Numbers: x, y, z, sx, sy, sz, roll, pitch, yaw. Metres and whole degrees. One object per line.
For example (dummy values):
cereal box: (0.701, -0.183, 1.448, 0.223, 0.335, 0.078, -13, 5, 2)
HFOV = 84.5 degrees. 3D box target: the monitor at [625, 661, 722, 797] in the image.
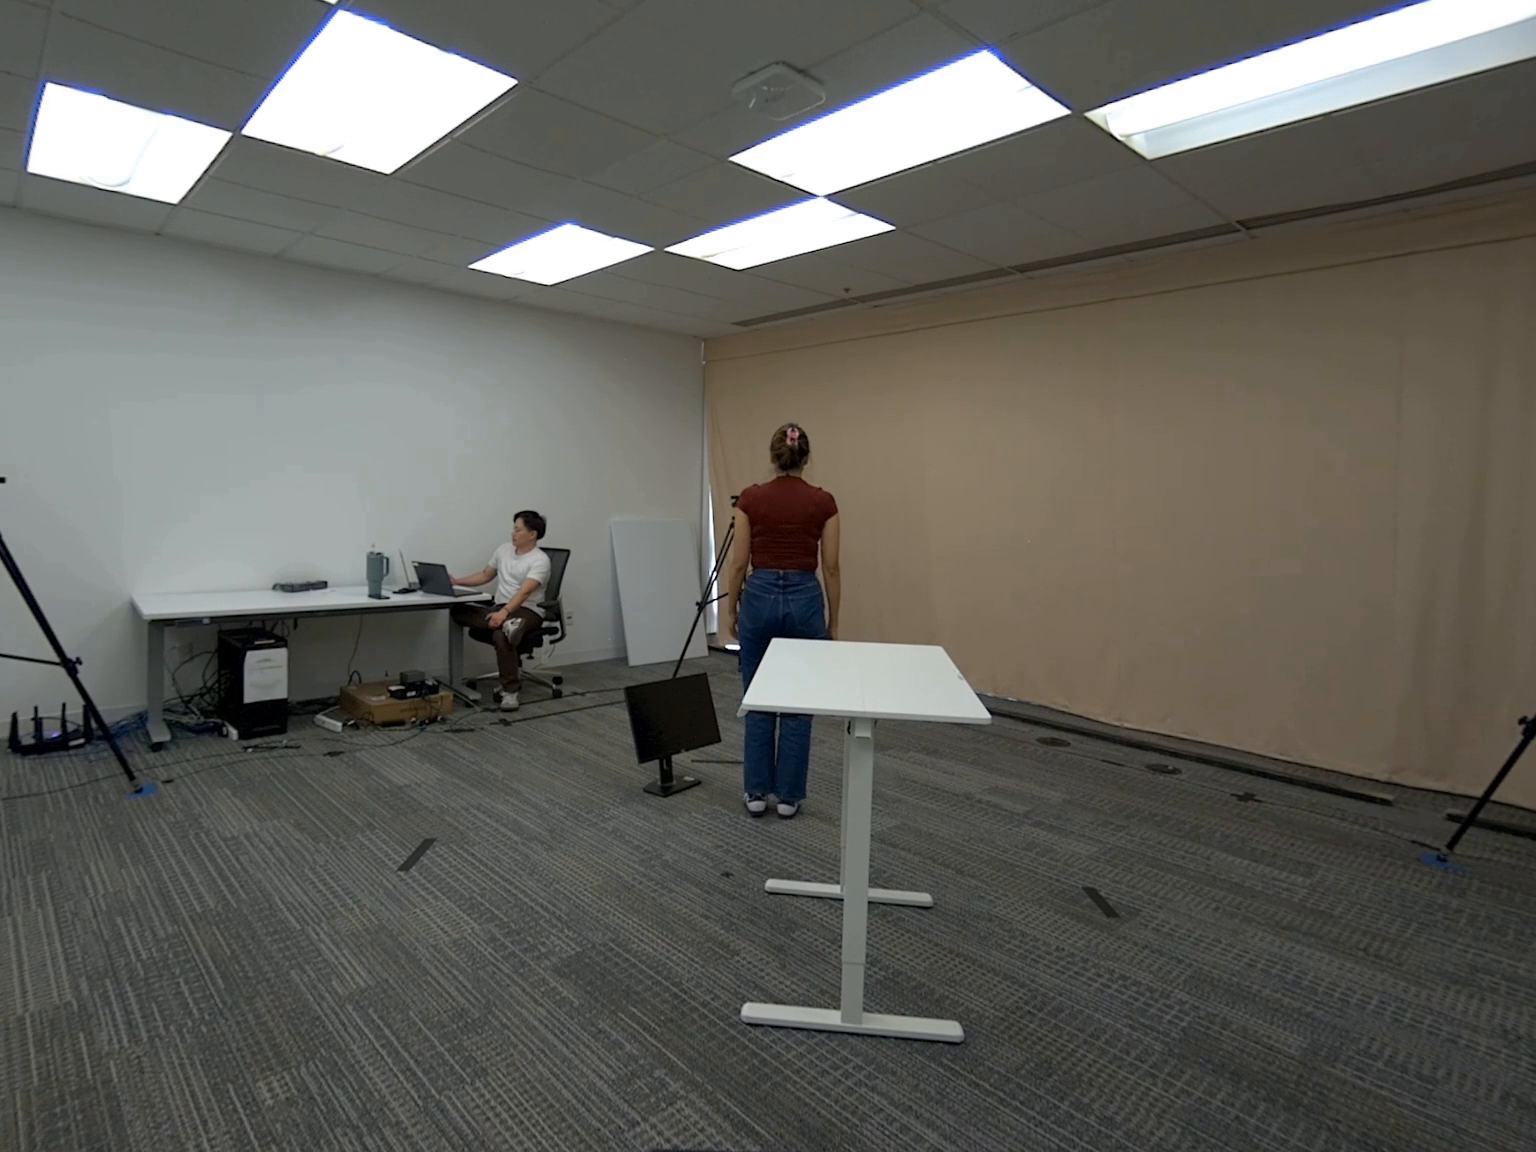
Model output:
monitor: (-0.473, 0.754, 4.038, 0.191, 0.522, 0.527, -1, 1, 38)
